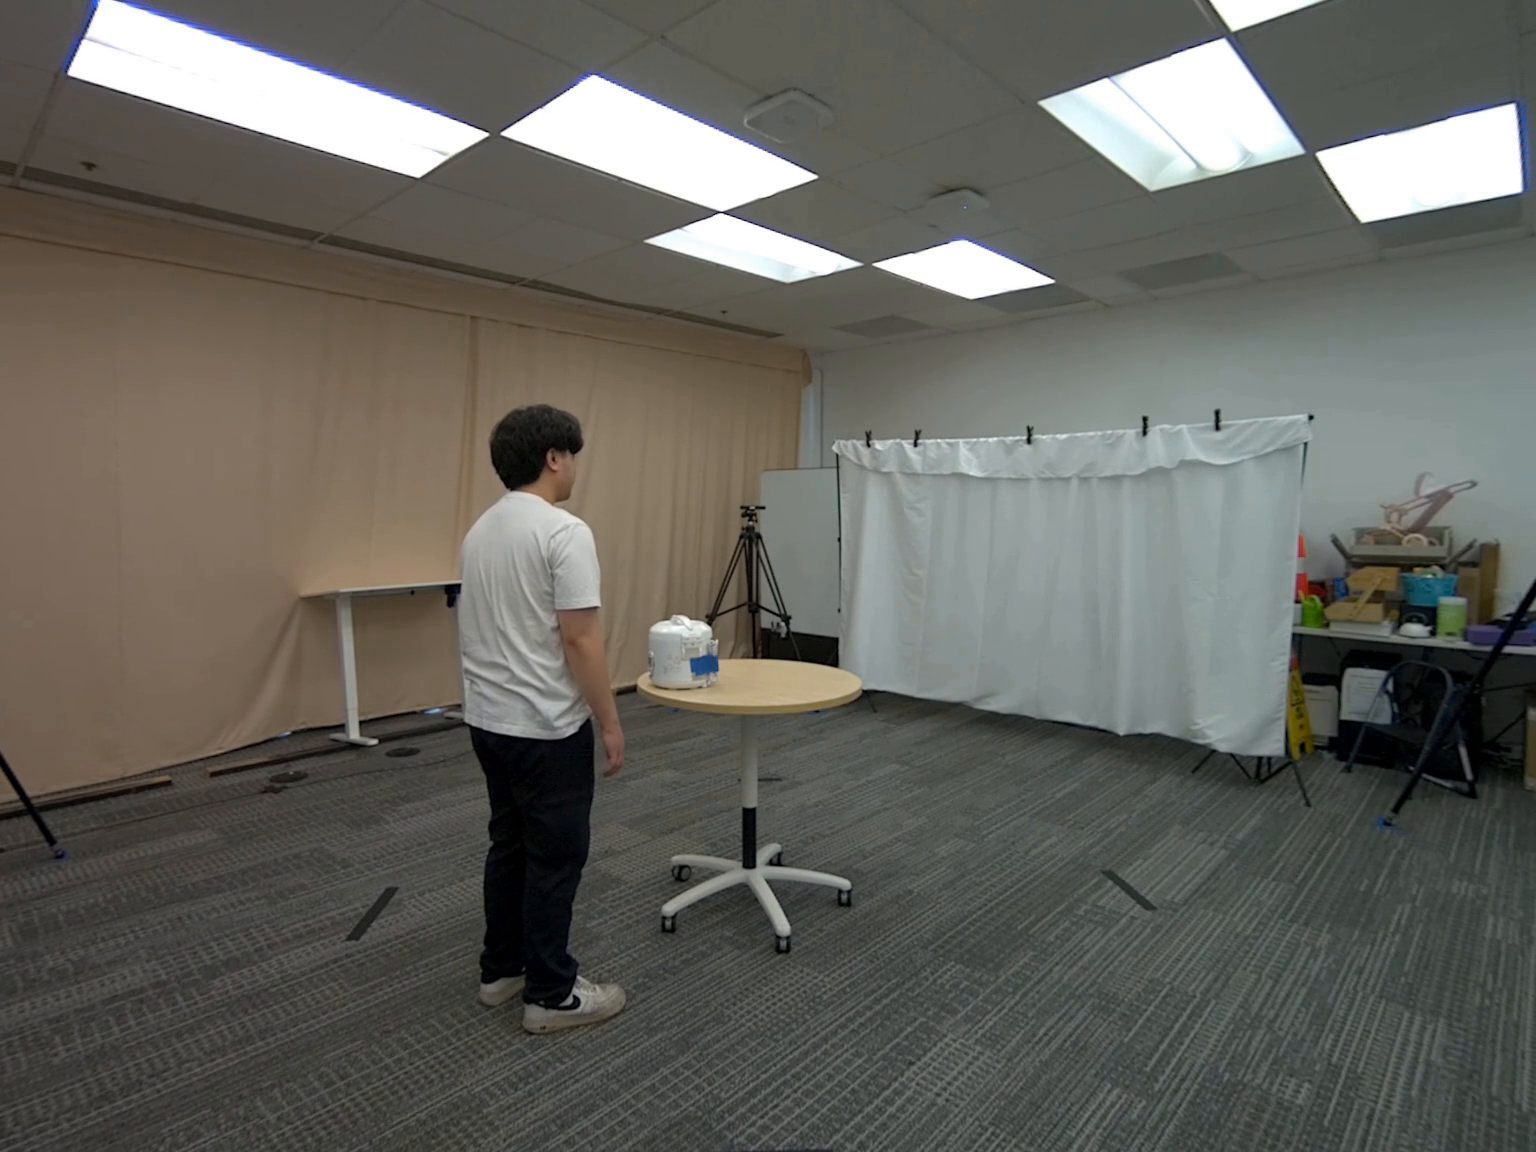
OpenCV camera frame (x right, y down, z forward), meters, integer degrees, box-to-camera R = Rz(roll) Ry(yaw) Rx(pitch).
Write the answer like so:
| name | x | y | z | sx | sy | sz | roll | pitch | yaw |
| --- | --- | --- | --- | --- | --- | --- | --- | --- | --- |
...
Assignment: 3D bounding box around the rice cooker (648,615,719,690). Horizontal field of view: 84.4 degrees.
| name | x | y | z | sx | sy | sz | roll | pitch | yaw |
| --- | --- | --- | --- | --- | --- | --- | --- | --- | --- |
| rice cooker | -0.289 | 0.248 | 2.796 | 0.212 | 0.232 | 0.226 | -1 | 3 | -25 |
